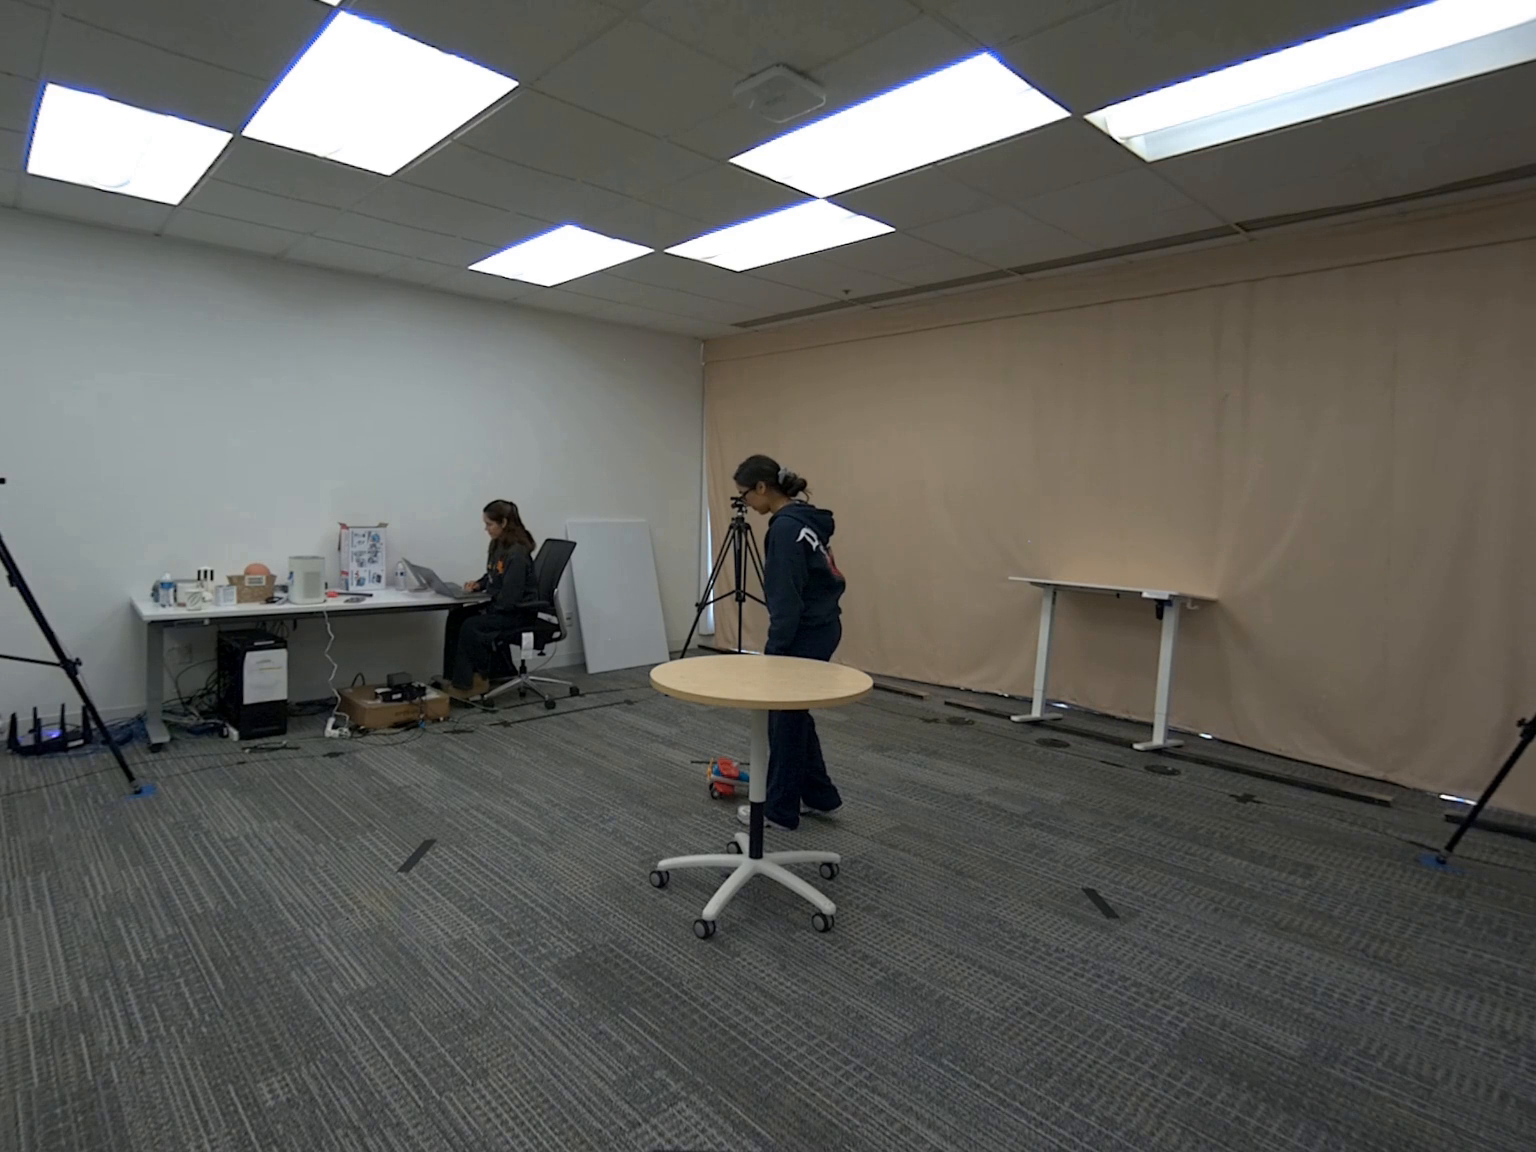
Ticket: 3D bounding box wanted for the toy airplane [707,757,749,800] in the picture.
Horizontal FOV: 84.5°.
[{"bbox_3d":[-0.182,0.954,3.981,0.253,0.156,0.257,-3,7,-36],"label":"toy airplane"}]
